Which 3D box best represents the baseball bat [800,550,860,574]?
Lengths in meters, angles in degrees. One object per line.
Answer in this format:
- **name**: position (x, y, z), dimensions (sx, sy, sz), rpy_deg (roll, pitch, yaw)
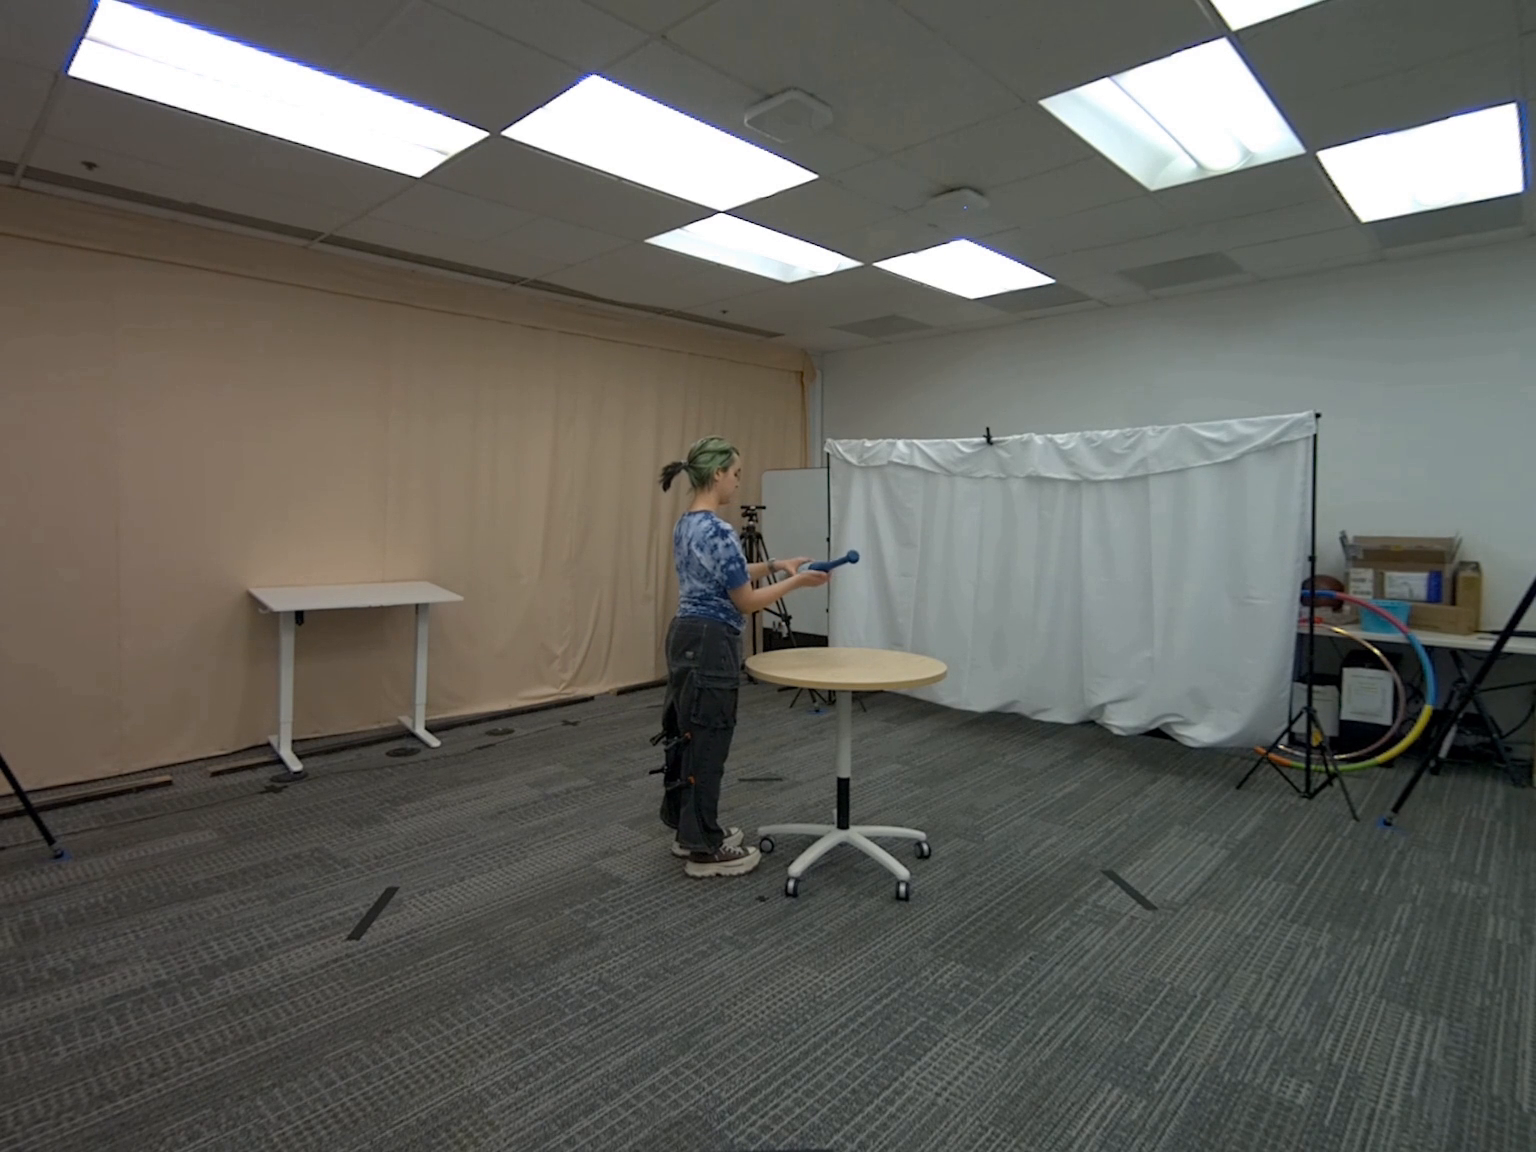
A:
- **baseball bat**: position (0.186, -0.015, 3.261), dimensions (0.087, 0.089, 0.552), rpy_deg (-1, -8, -25)
